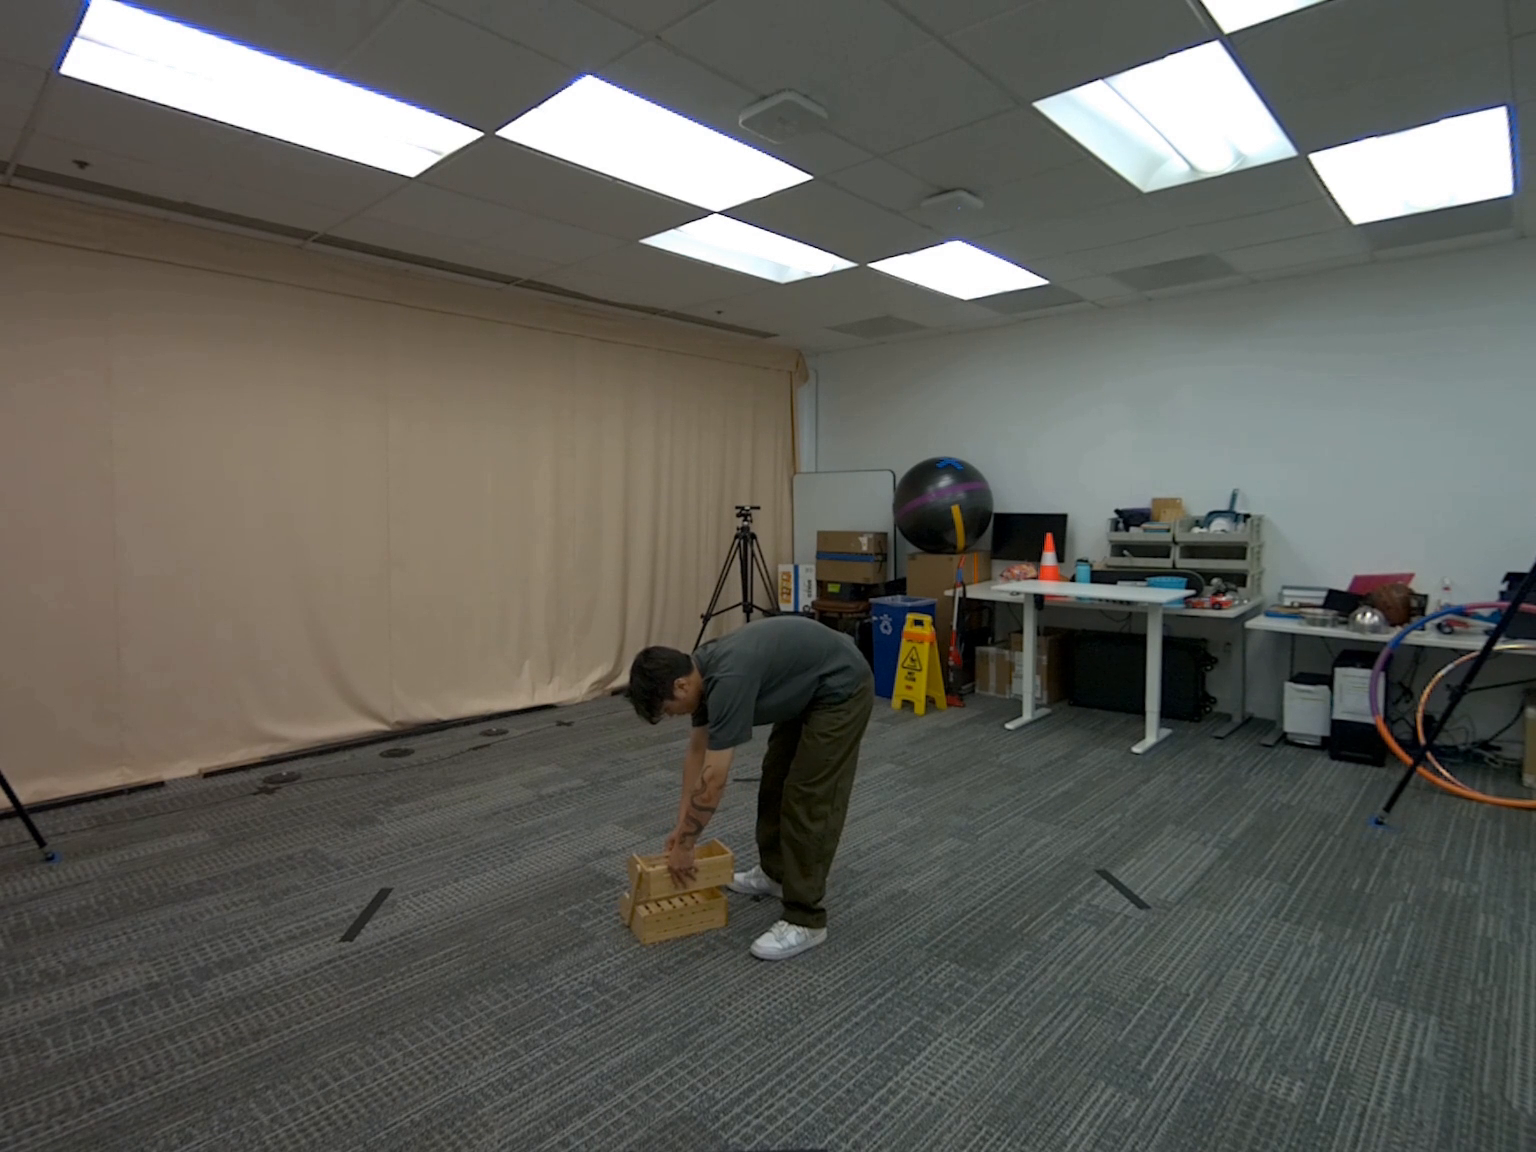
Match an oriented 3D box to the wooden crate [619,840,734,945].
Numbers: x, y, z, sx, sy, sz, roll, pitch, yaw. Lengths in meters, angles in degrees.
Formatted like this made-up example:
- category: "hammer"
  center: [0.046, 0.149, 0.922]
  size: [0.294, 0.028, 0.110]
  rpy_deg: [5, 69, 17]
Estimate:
- category: "wooden crate"
  center: [-0.315, 1.026, 2.819]
  size: [0.317, 0.272, 0.310]
  rpy_deg: [-3, 5, -26]
